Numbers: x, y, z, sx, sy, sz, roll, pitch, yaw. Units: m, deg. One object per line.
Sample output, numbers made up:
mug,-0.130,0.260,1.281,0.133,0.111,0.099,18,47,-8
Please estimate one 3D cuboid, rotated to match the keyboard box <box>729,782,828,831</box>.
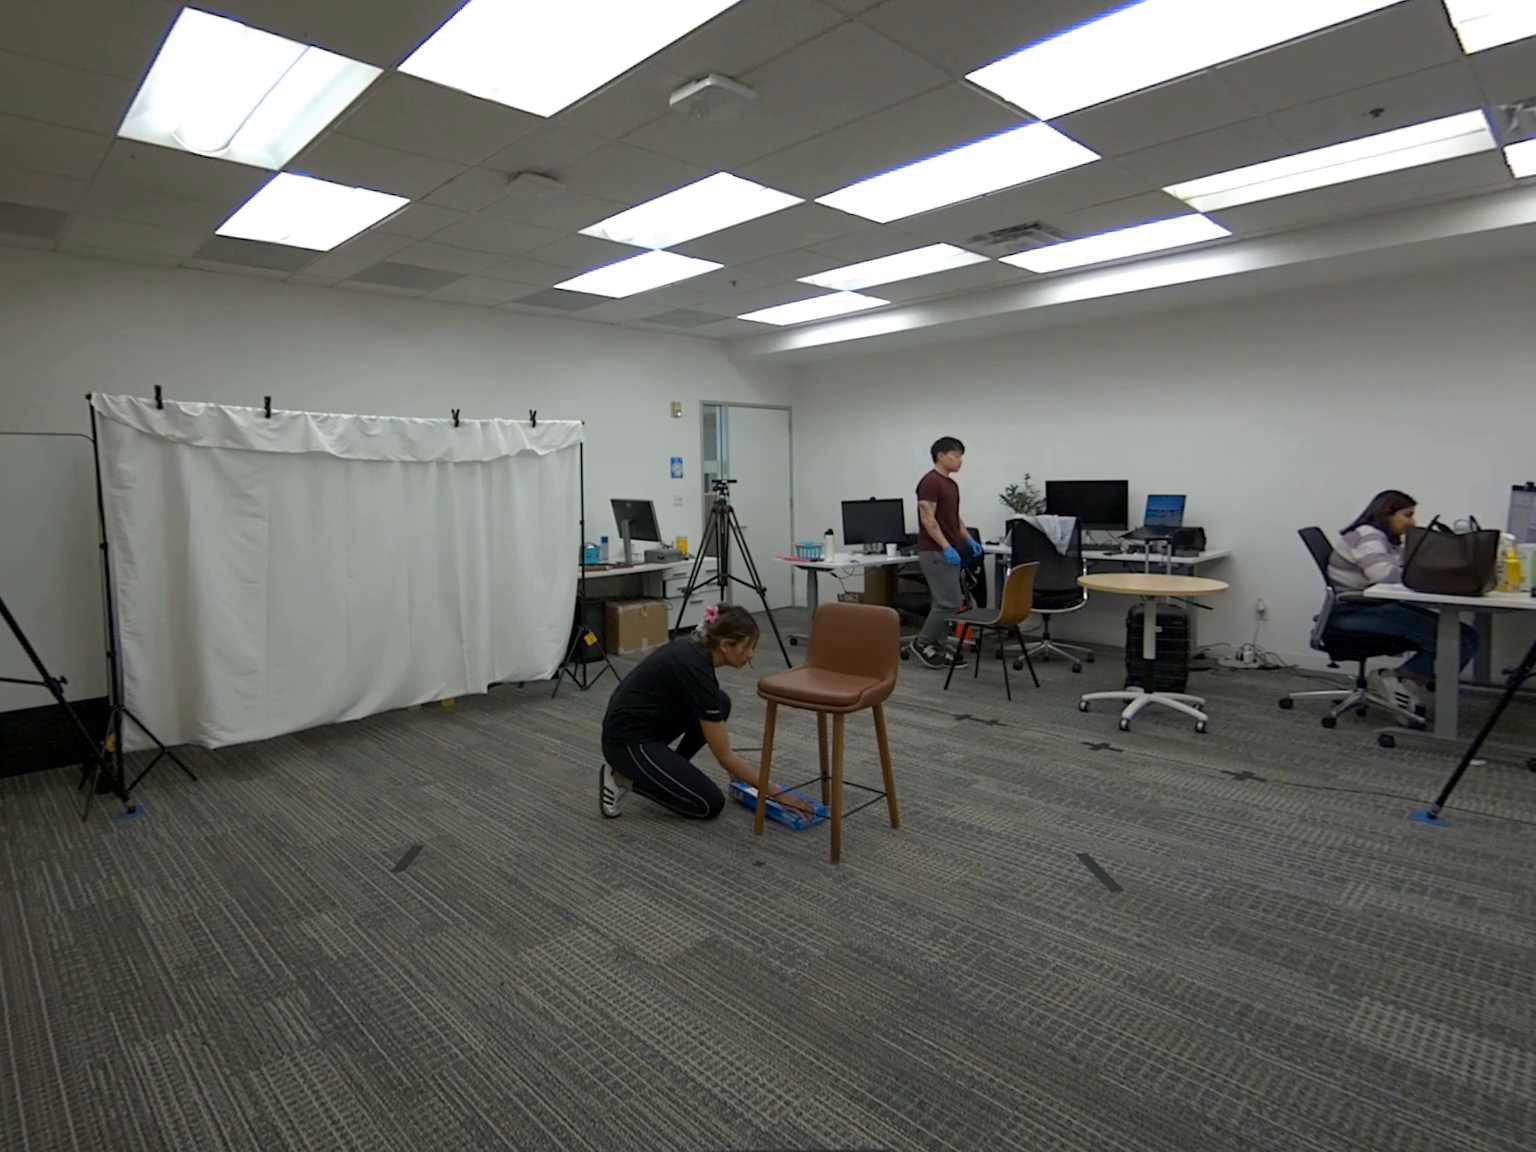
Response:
keyboard box,0.031,0.951,3.603,0.171,0.059,0.451,-6,10,-39
